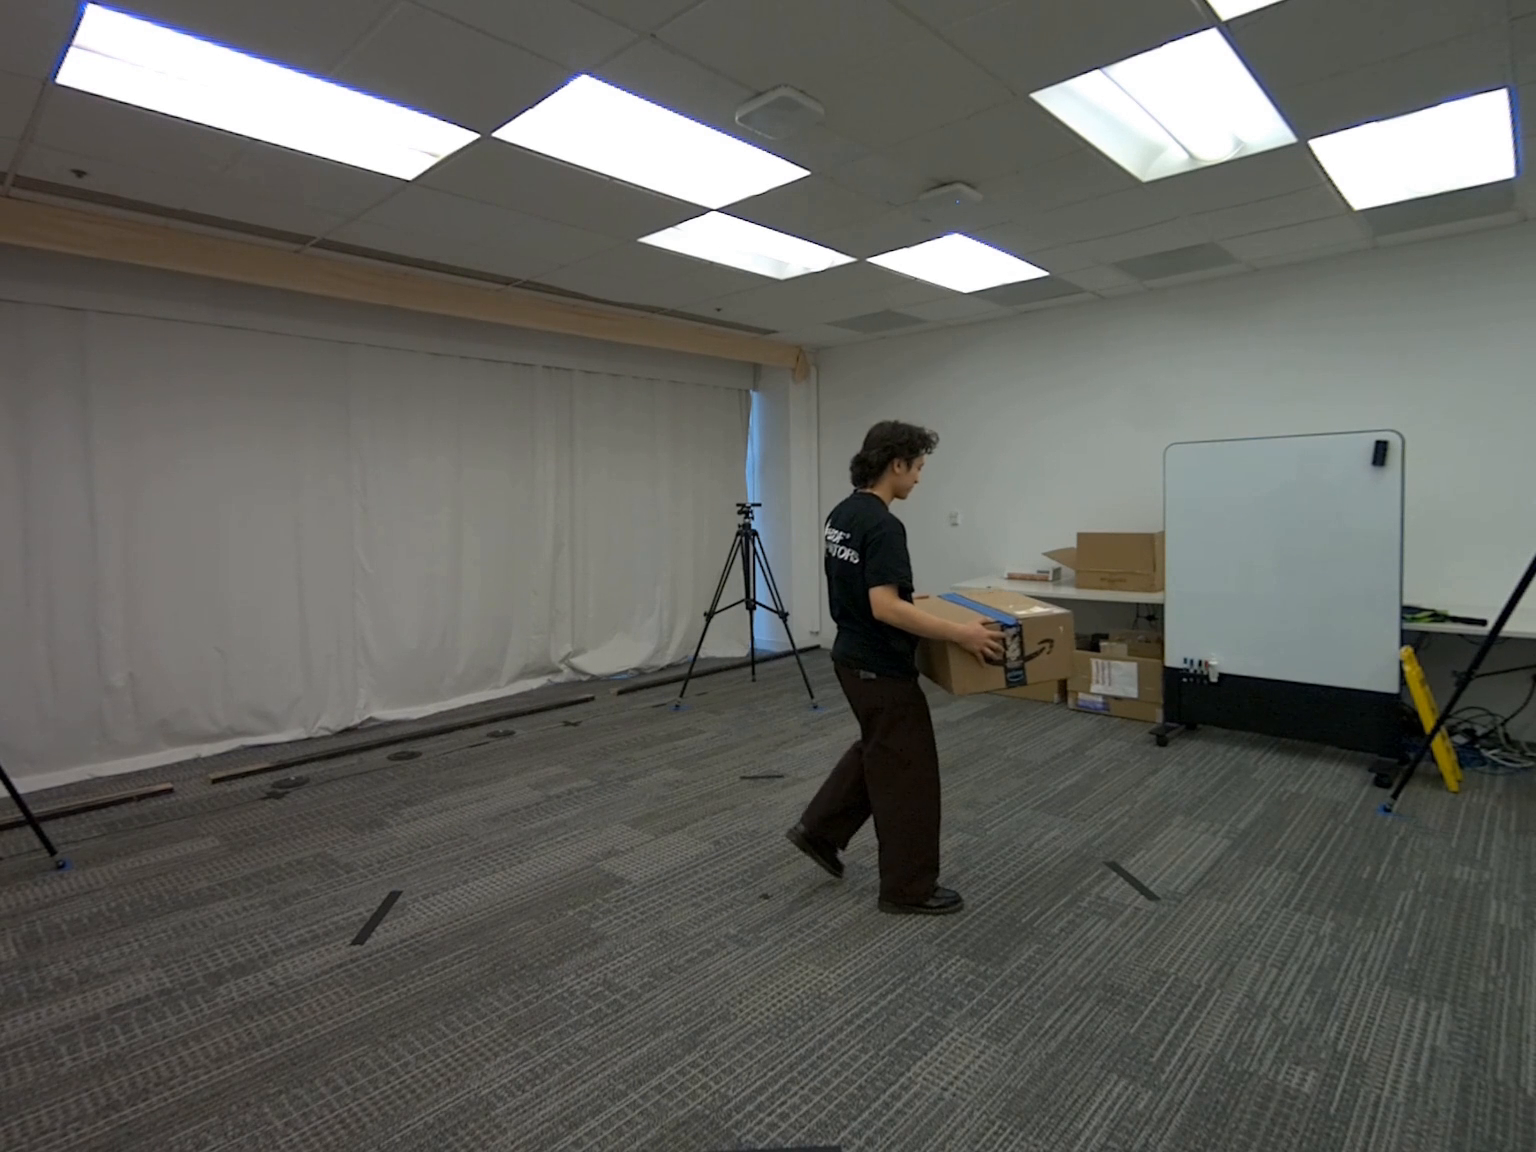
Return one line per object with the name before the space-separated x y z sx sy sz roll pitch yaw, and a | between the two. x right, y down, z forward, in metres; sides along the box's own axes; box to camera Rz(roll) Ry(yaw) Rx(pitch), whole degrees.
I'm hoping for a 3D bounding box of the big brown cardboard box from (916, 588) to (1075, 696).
big brown cardboard box | 0.722 0.209 2.923 0.415 0.232 0.595 -9 7 -7
